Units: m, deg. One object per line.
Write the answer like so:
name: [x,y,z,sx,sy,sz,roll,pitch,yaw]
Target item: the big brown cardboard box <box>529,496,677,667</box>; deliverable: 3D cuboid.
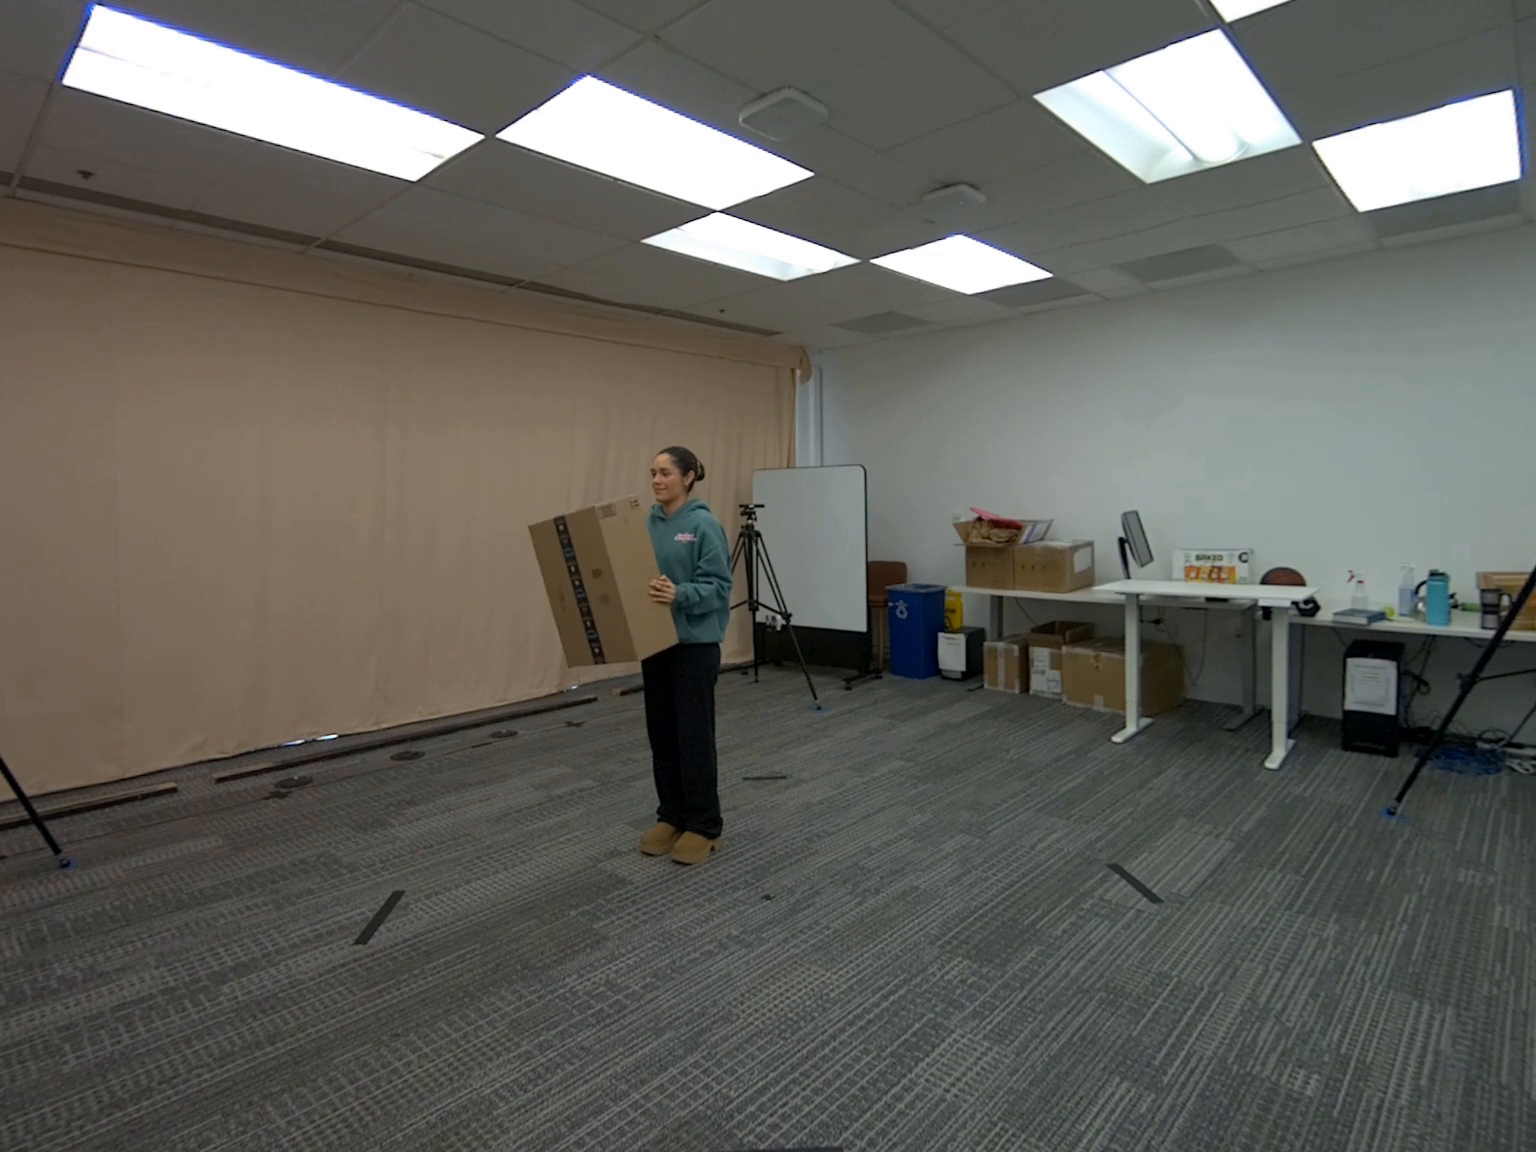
big brown cardboard box: [-0.606,0.030,3.136,0.429,0.586,0.228,-10,7,41]
